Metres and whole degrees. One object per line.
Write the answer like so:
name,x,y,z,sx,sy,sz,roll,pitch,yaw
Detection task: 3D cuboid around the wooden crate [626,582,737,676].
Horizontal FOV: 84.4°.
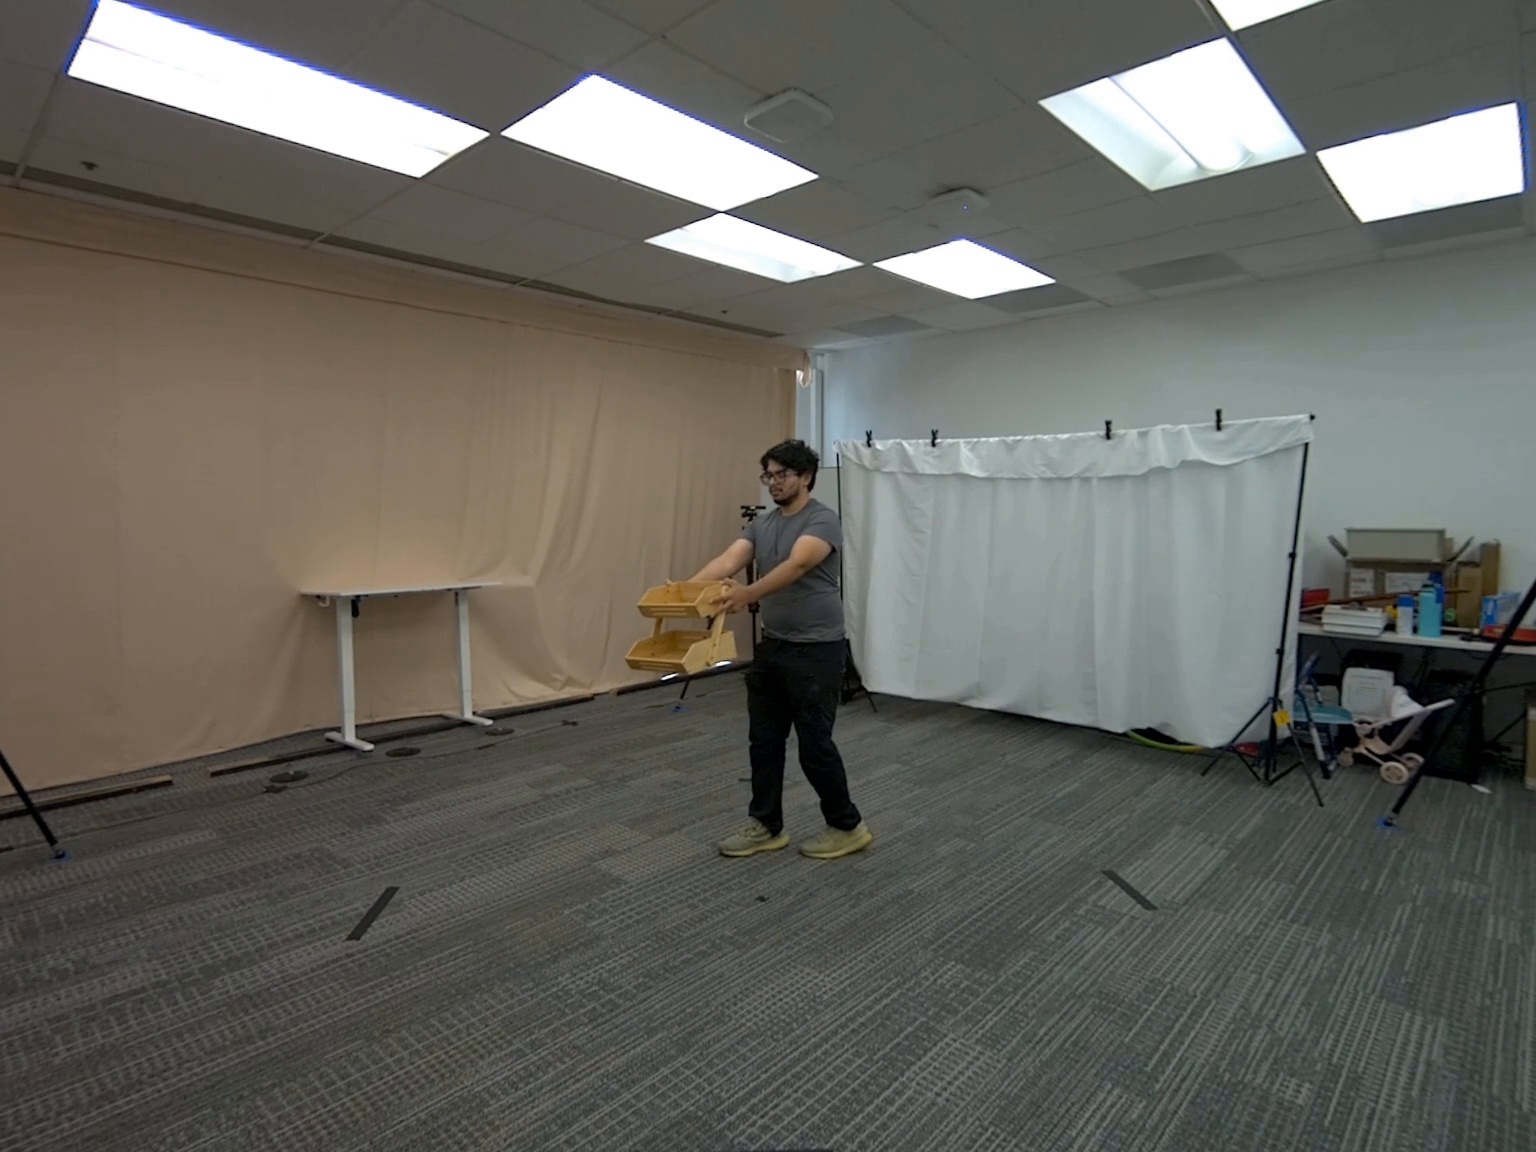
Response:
wooden crate,-0.299,0.175,2.937,0.335,0.272,0.294,-2,7,43
